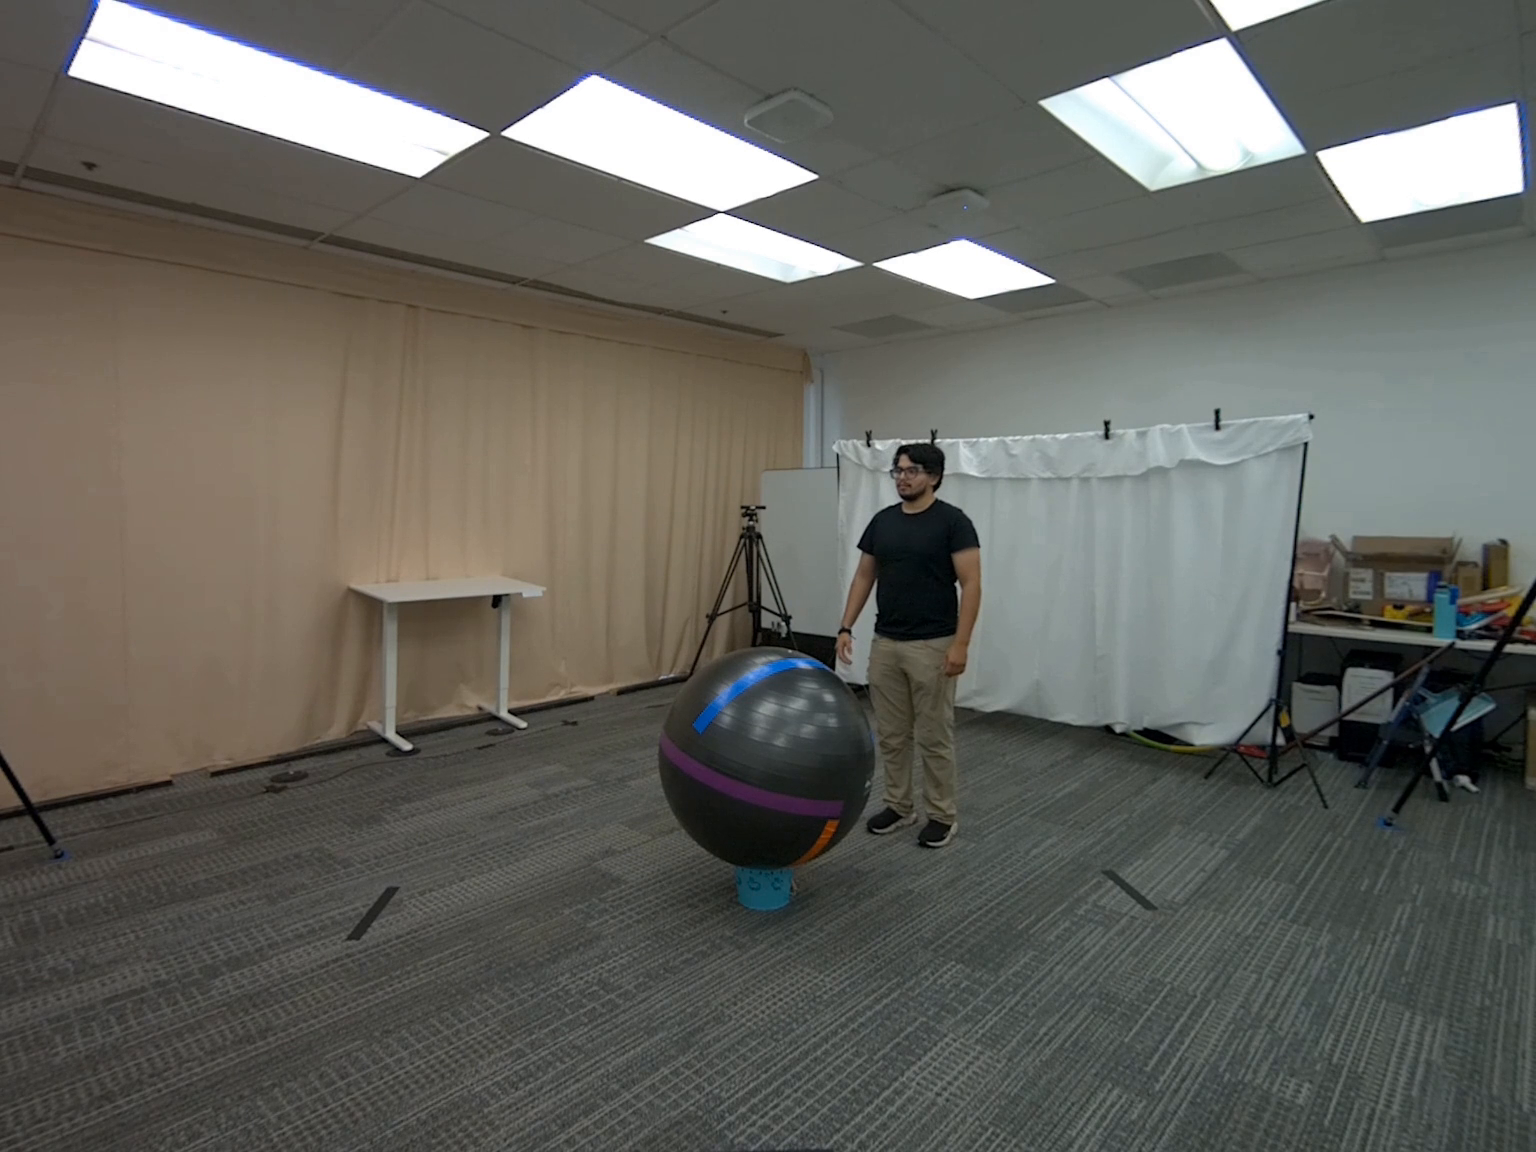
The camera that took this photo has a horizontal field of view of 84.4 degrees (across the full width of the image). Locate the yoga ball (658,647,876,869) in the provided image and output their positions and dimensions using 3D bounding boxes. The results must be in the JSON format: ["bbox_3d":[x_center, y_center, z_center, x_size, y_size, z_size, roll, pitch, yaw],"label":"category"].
[{"bbox_3d":[0.002,0.633,2.967,0.757,0.756,0.760,0,4,-2],"label":"yoga ball"}]
